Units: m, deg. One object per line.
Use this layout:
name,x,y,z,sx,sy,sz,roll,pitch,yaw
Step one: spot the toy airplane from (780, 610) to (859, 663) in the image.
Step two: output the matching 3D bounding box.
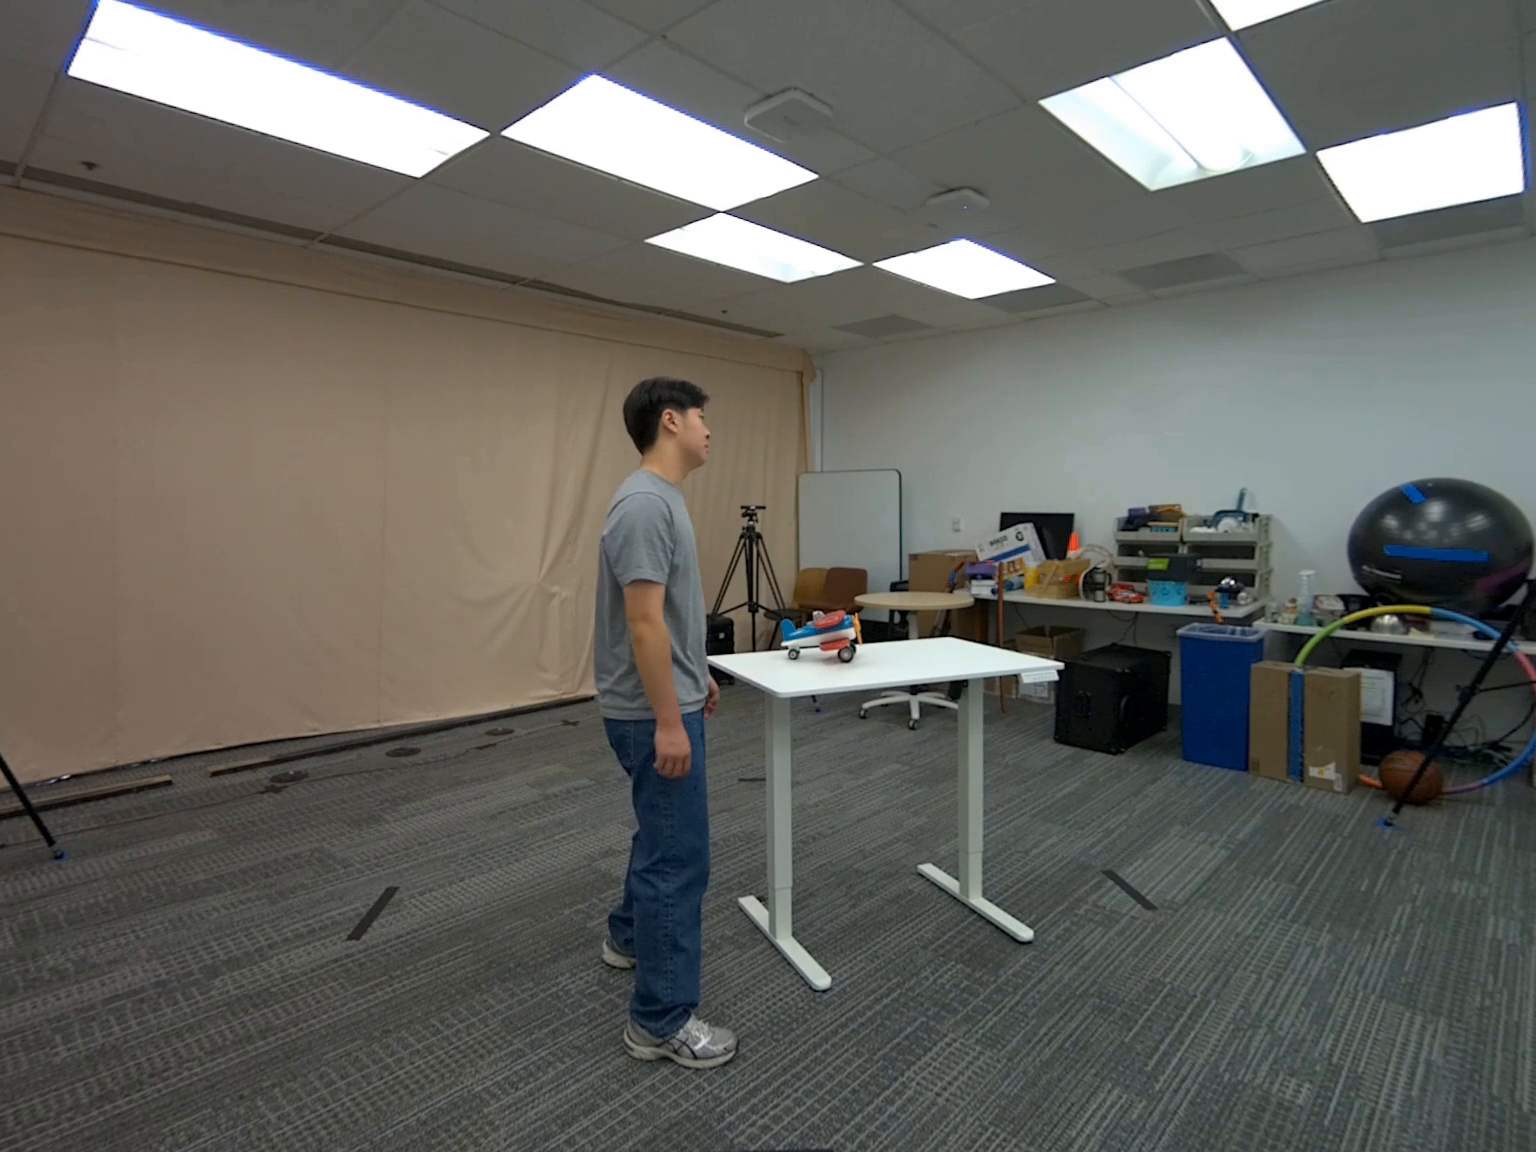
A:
toy airplane,0.181,0.201,2.767,0.254,0.156,0.256,-1,4,-19
